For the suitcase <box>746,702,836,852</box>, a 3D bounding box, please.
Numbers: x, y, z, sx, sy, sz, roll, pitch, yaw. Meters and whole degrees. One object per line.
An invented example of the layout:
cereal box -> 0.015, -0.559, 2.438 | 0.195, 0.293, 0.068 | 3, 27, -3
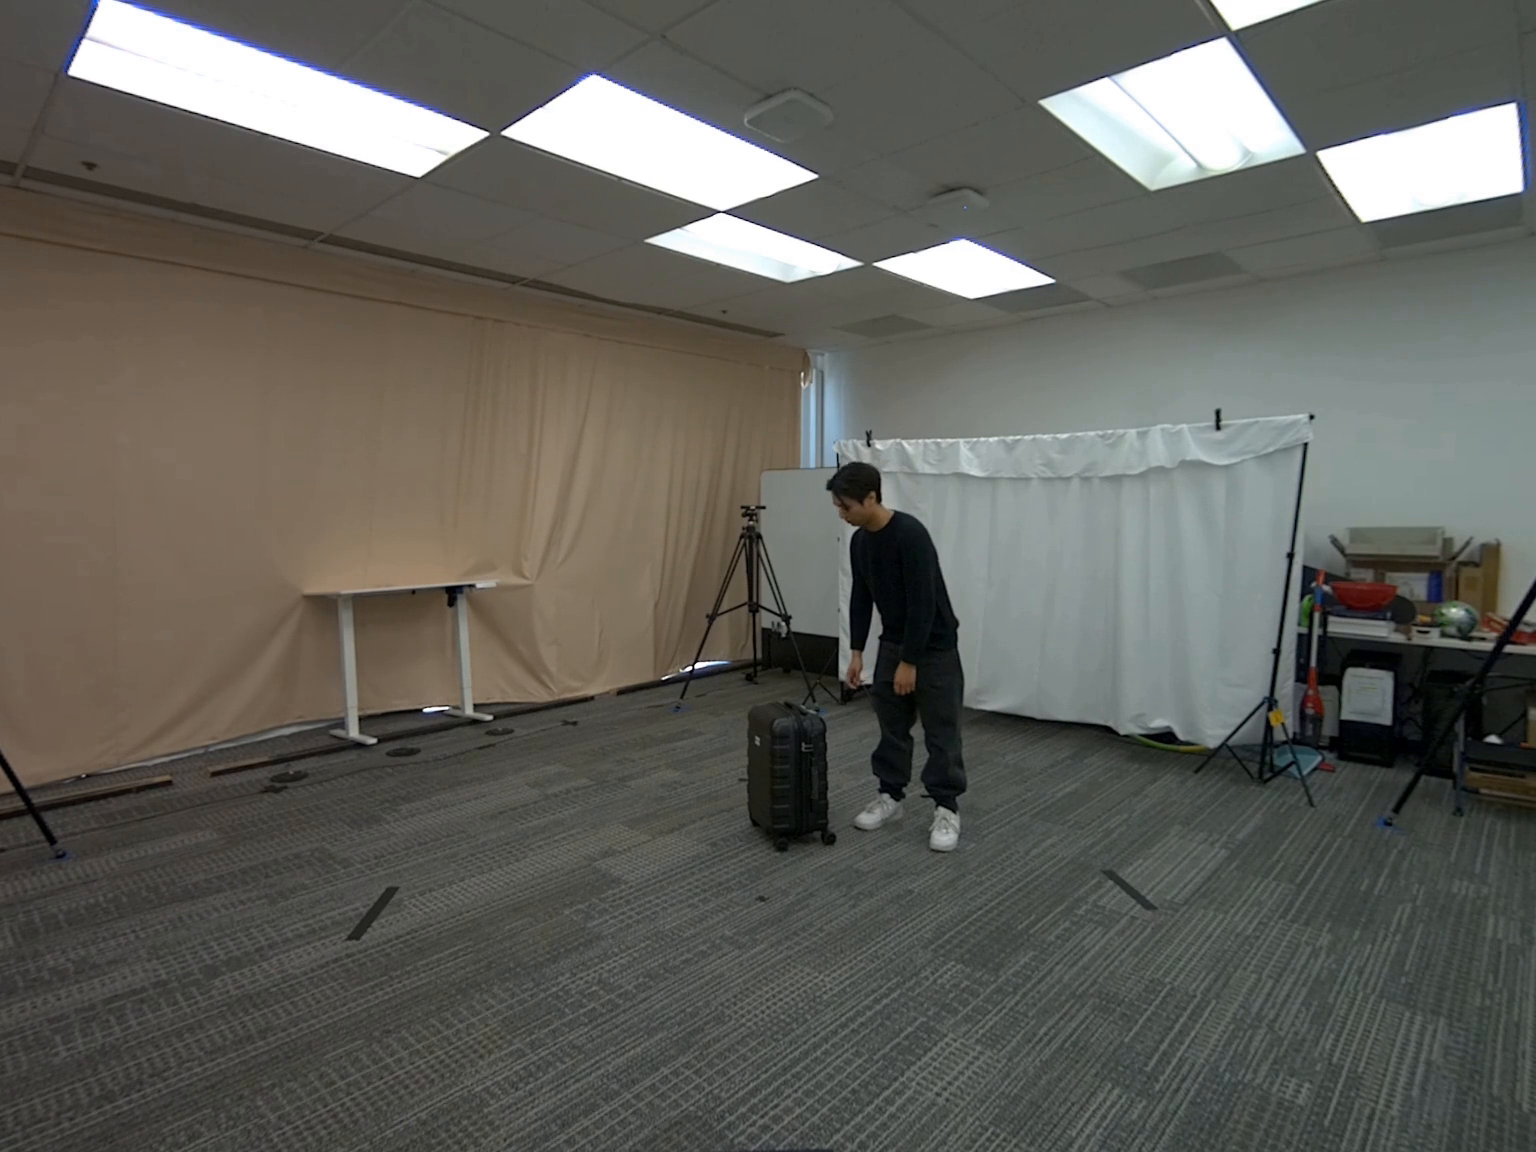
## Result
suitcase -> 0.084, 0.820, 3.548 | 0.244, 0.548, 0.383 | -3, 4, -20
